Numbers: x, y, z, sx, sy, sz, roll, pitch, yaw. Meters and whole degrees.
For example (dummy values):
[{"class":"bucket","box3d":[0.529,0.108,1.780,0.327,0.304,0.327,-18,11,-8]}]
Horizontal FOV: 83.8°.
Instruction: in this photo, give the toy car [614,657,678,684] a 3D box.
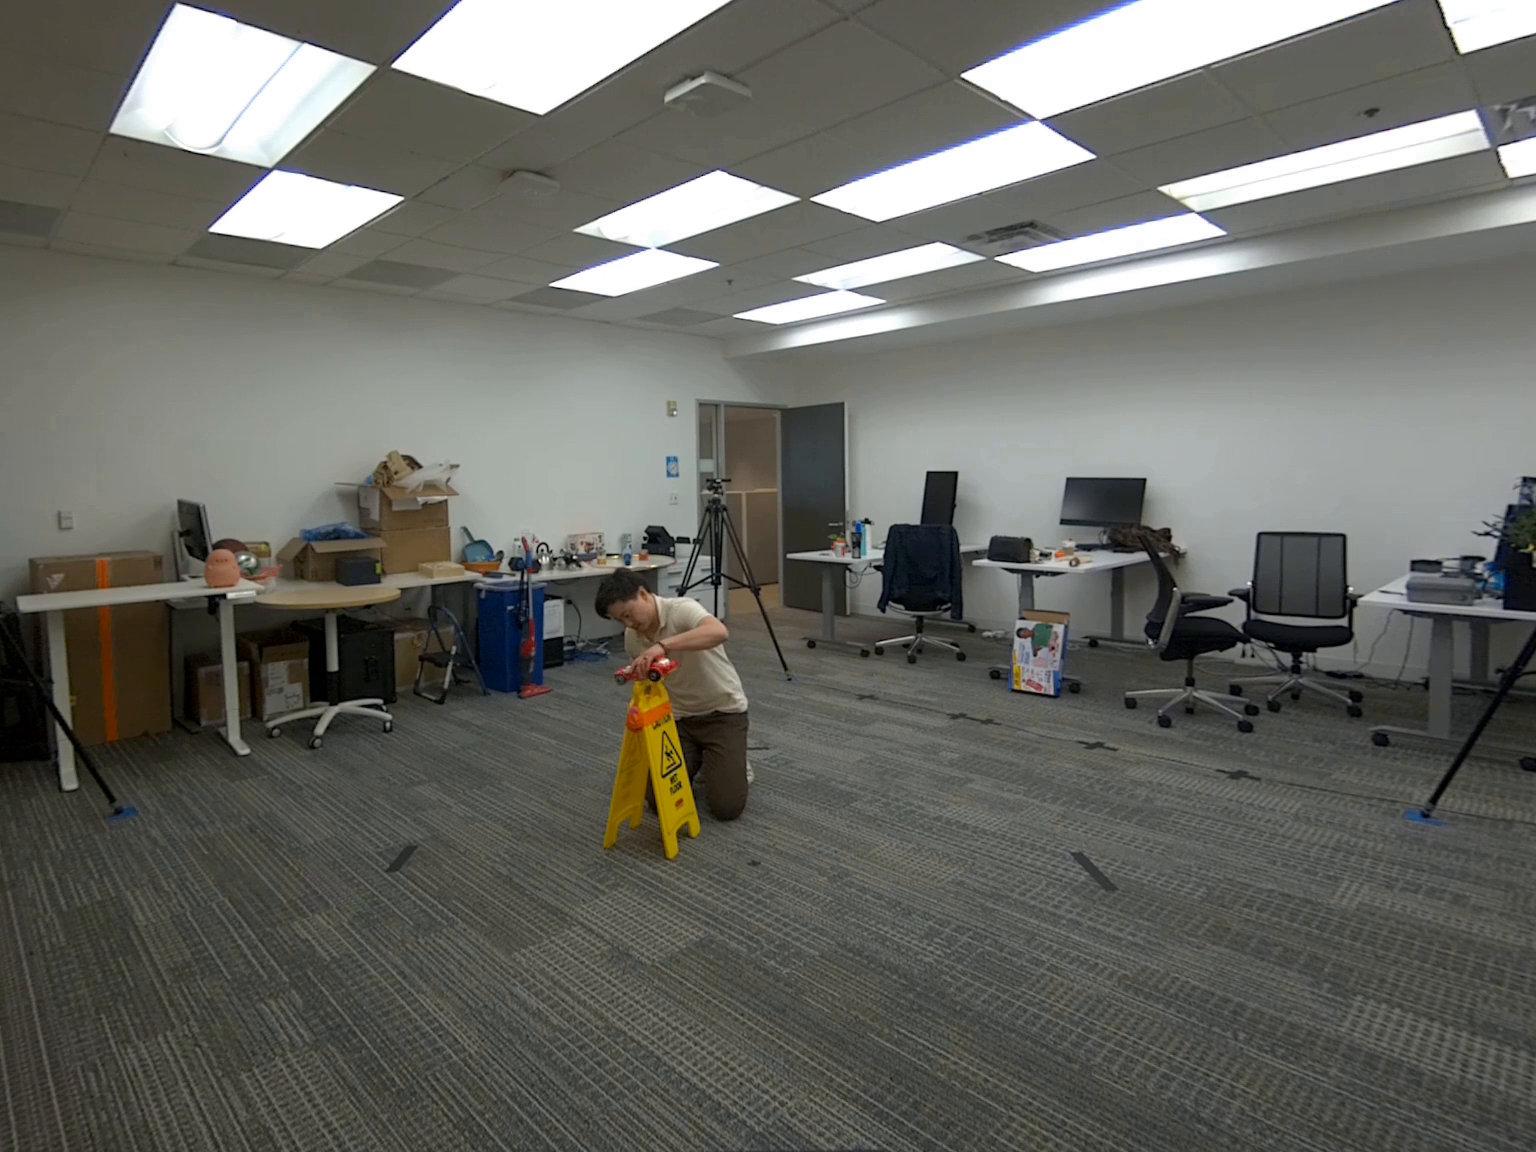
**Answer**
[{"class":"toy car","box3d":[-0.462,0.374,3.235,0.257,0.083,0.128,-21,0,21]}]
